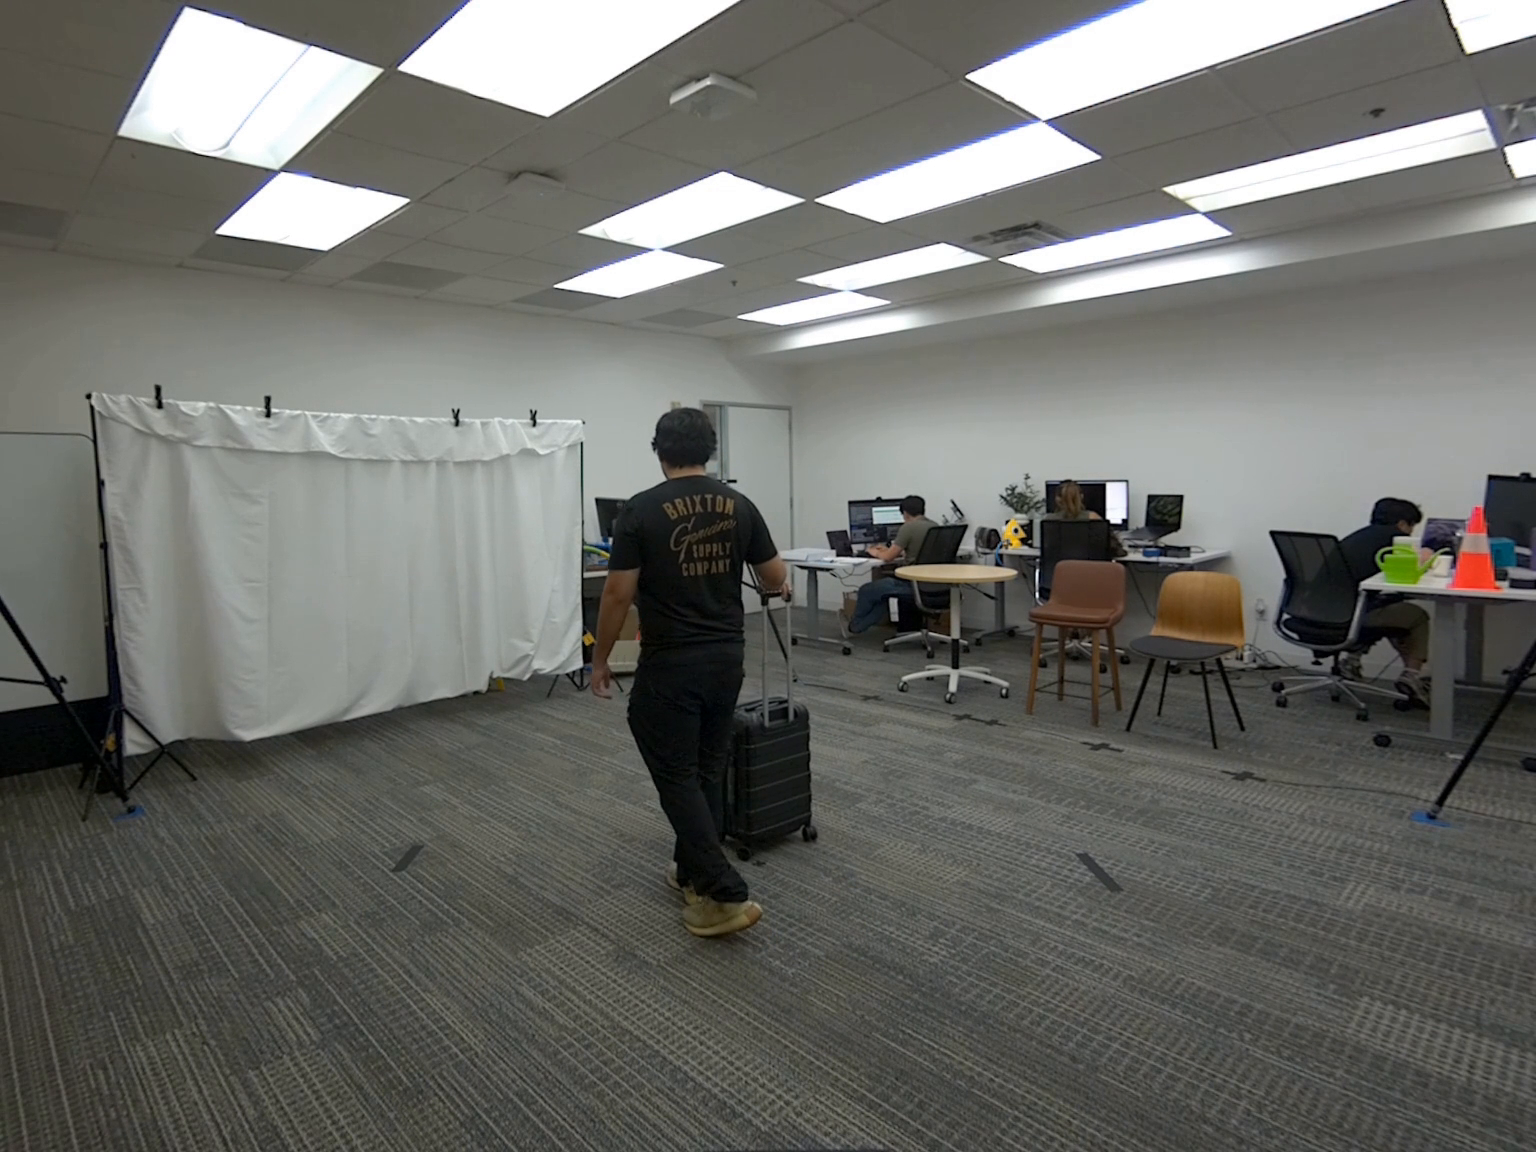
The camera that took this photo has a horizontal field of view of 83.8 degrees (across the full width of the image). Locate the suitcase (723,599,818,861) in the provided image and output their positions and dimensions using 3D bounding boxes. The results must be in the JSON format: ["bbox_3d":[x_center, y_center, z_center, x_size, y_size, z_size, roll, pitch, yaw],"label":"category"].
[{"bbox_3d":[-0.032,0.552,3.289,0.374,0.976,0.264,-4,3,-38],"label":"suitcase"}]
